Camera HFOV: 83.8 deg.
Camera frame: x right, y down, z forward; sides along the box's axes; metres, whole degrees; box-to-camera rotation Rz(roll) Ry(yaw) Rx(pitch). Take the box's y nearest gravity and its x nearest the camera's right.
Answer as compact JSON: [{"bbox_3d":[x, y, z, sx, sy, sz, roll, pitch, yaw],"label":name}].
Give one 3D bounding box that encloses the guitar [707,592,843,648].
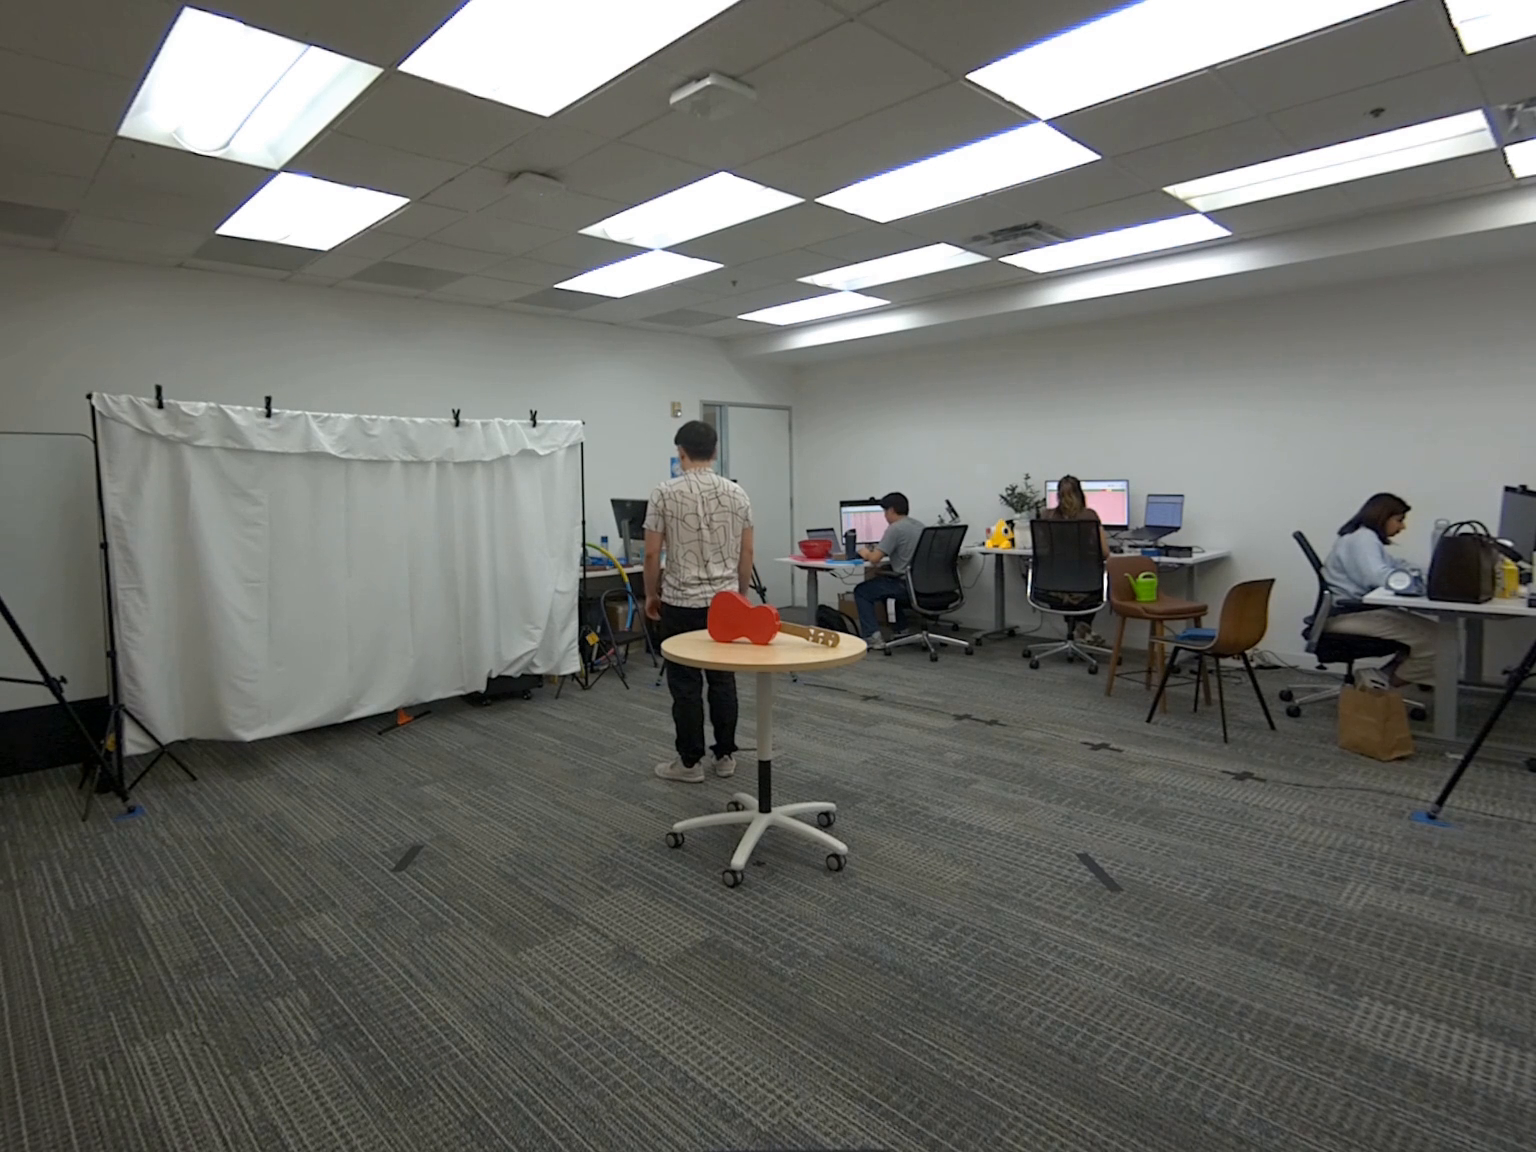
[{"bbox_3d":[0.021,0.163,3.166,0.506,0.193,0.069,2,2,17],"label":"guitar"}]
